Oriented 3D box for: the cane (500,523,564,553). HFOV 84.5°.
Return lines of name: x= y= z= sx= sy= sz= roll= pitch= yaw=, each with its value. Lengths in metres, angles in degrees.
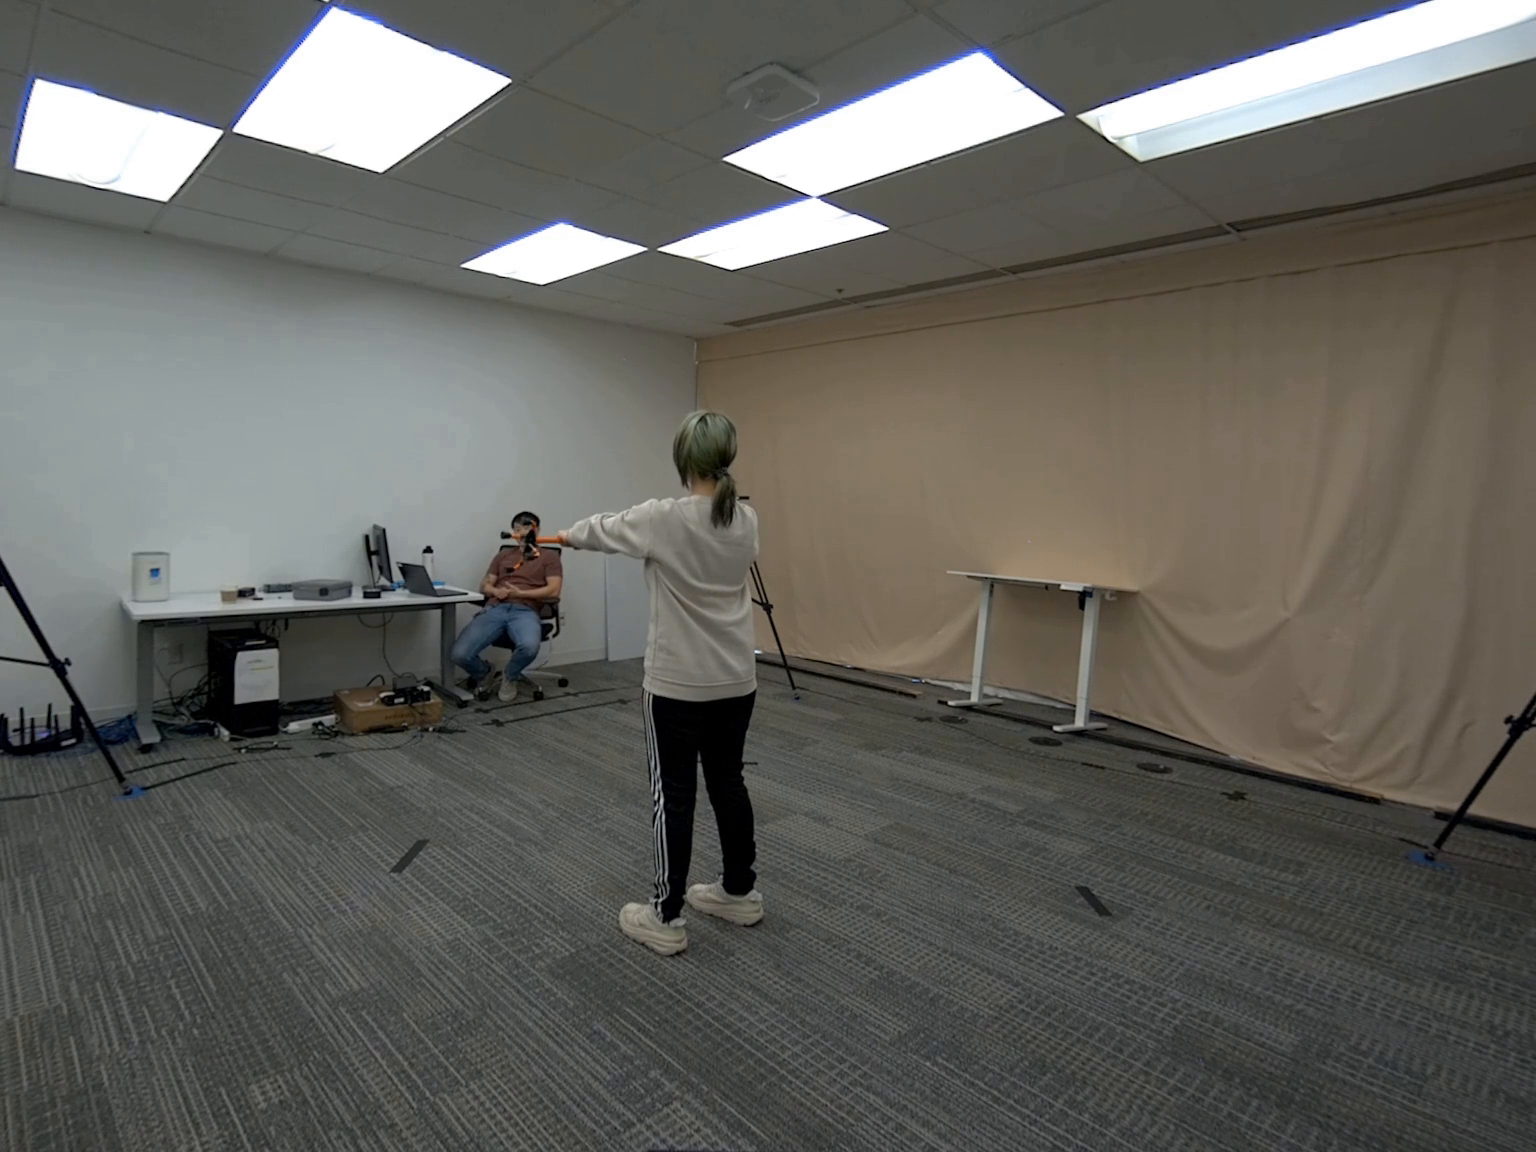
cane: x=-0.521 y=-0.120 z=3.127 sx=0.887 sy=0.153 sz=0.209 roll=-1 pitch=-14 yaw=-37
